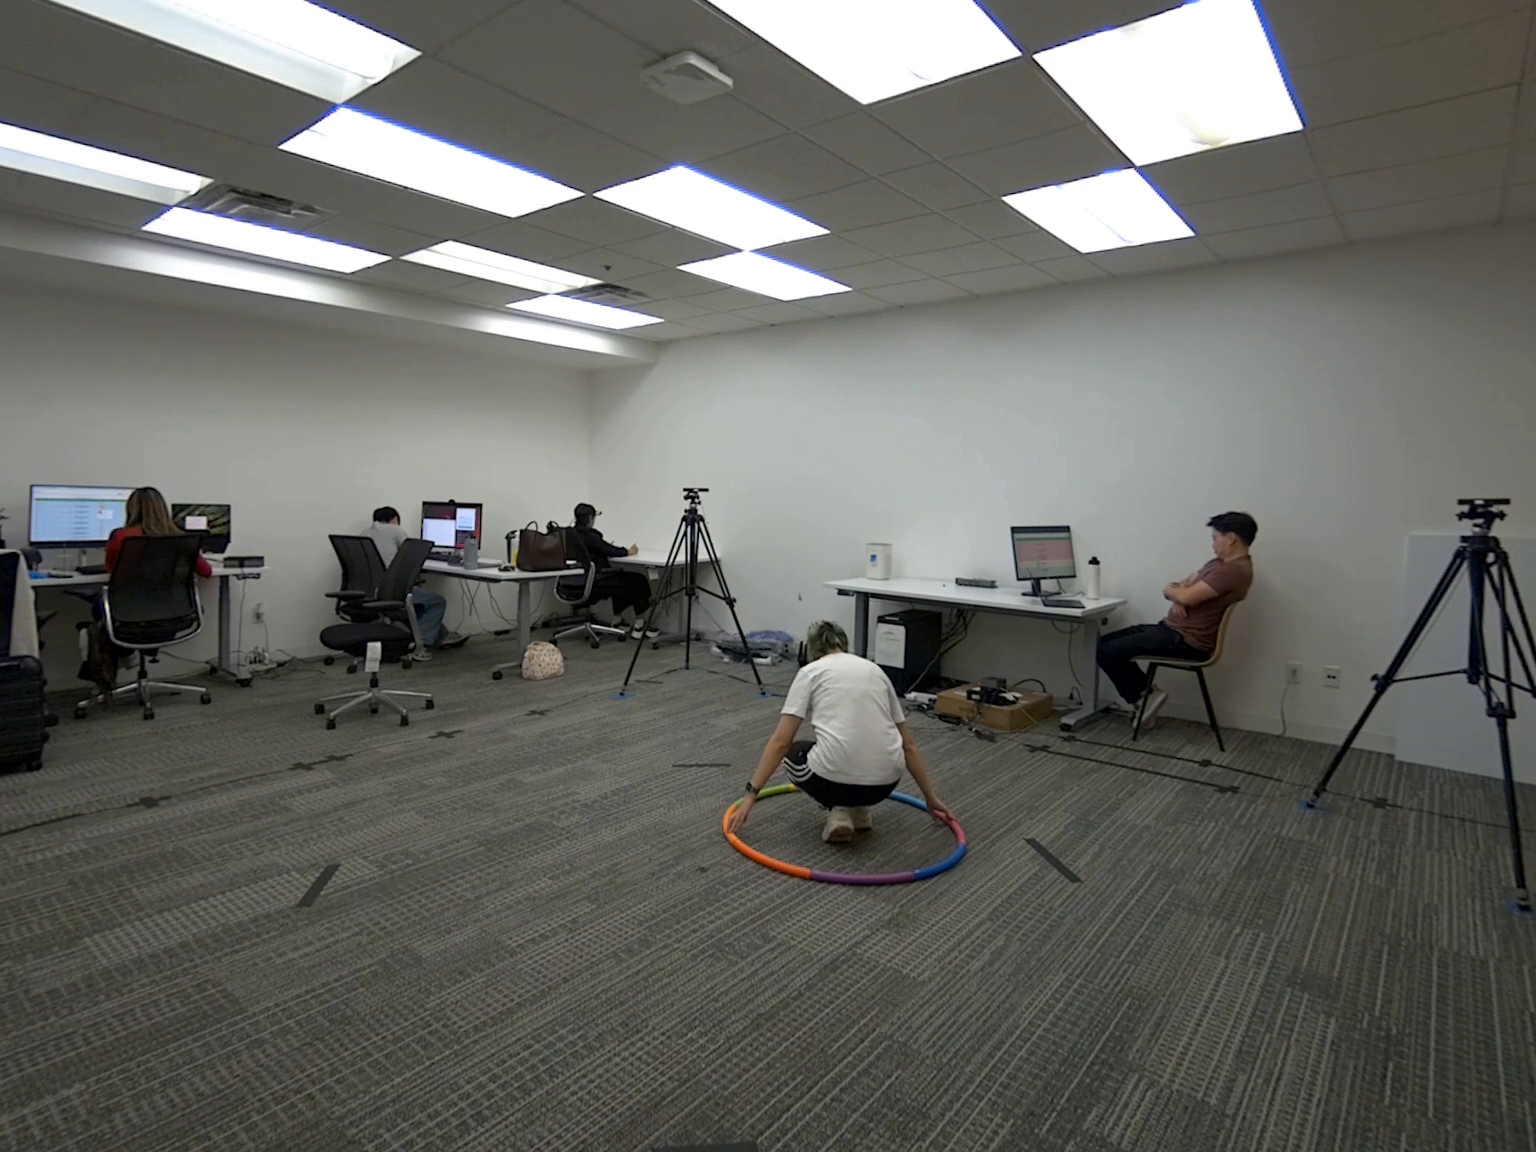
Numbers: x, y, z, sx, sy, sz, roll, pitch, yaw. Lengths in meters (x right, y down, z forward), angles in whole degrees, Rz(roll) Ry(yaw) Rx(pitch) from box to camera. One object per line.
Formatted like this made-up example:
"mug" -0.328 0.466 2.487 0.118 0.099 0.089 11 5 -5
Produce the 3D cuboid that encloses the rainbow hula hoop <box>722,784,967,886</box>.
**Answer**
"rainbow hula hoop" 0.297 1.014 3.488 0.984 0.051 0.991 0 6 -2
